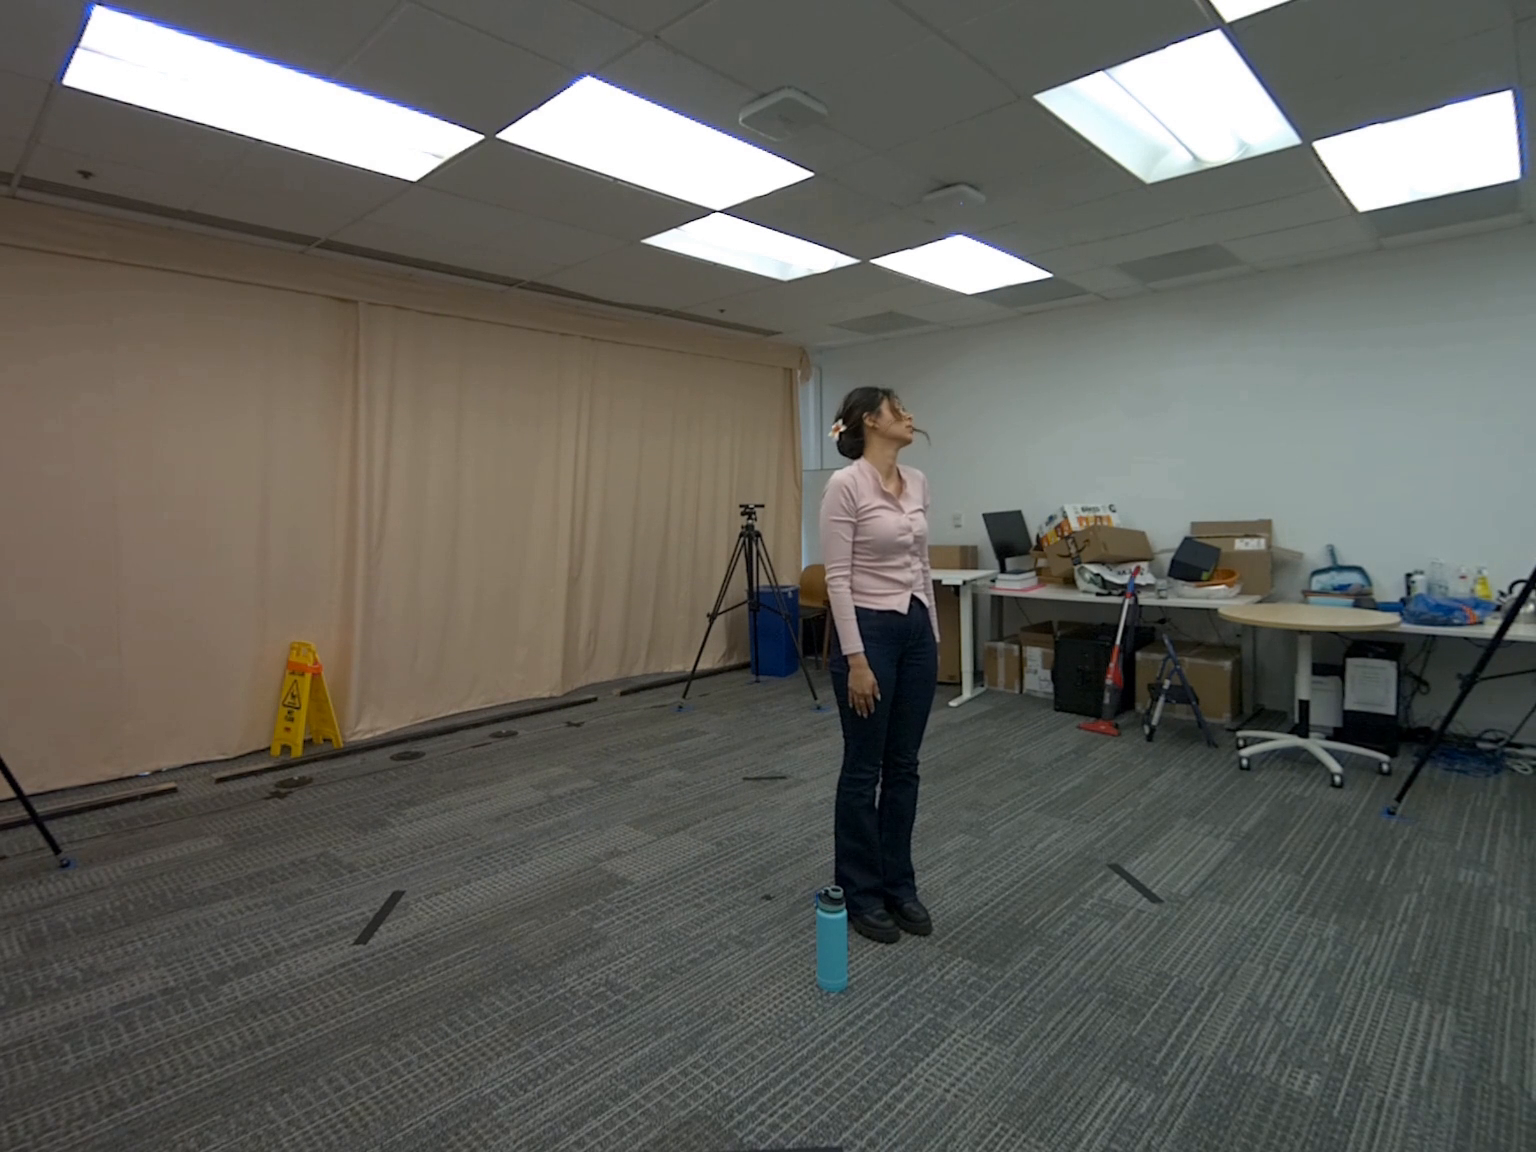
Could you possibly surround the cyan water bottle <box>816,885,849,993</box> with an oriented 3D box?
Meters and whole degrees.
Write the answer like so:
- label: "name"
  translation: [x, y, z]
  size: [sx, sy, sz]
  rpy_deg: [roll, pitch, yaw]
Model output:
- label: "cyan water bottle"
  translation: [0.191, 1.047, 2.428]
  size: [0.092, 0.283, 0.092]
  rpy_deg: [-1, 3, -2]
